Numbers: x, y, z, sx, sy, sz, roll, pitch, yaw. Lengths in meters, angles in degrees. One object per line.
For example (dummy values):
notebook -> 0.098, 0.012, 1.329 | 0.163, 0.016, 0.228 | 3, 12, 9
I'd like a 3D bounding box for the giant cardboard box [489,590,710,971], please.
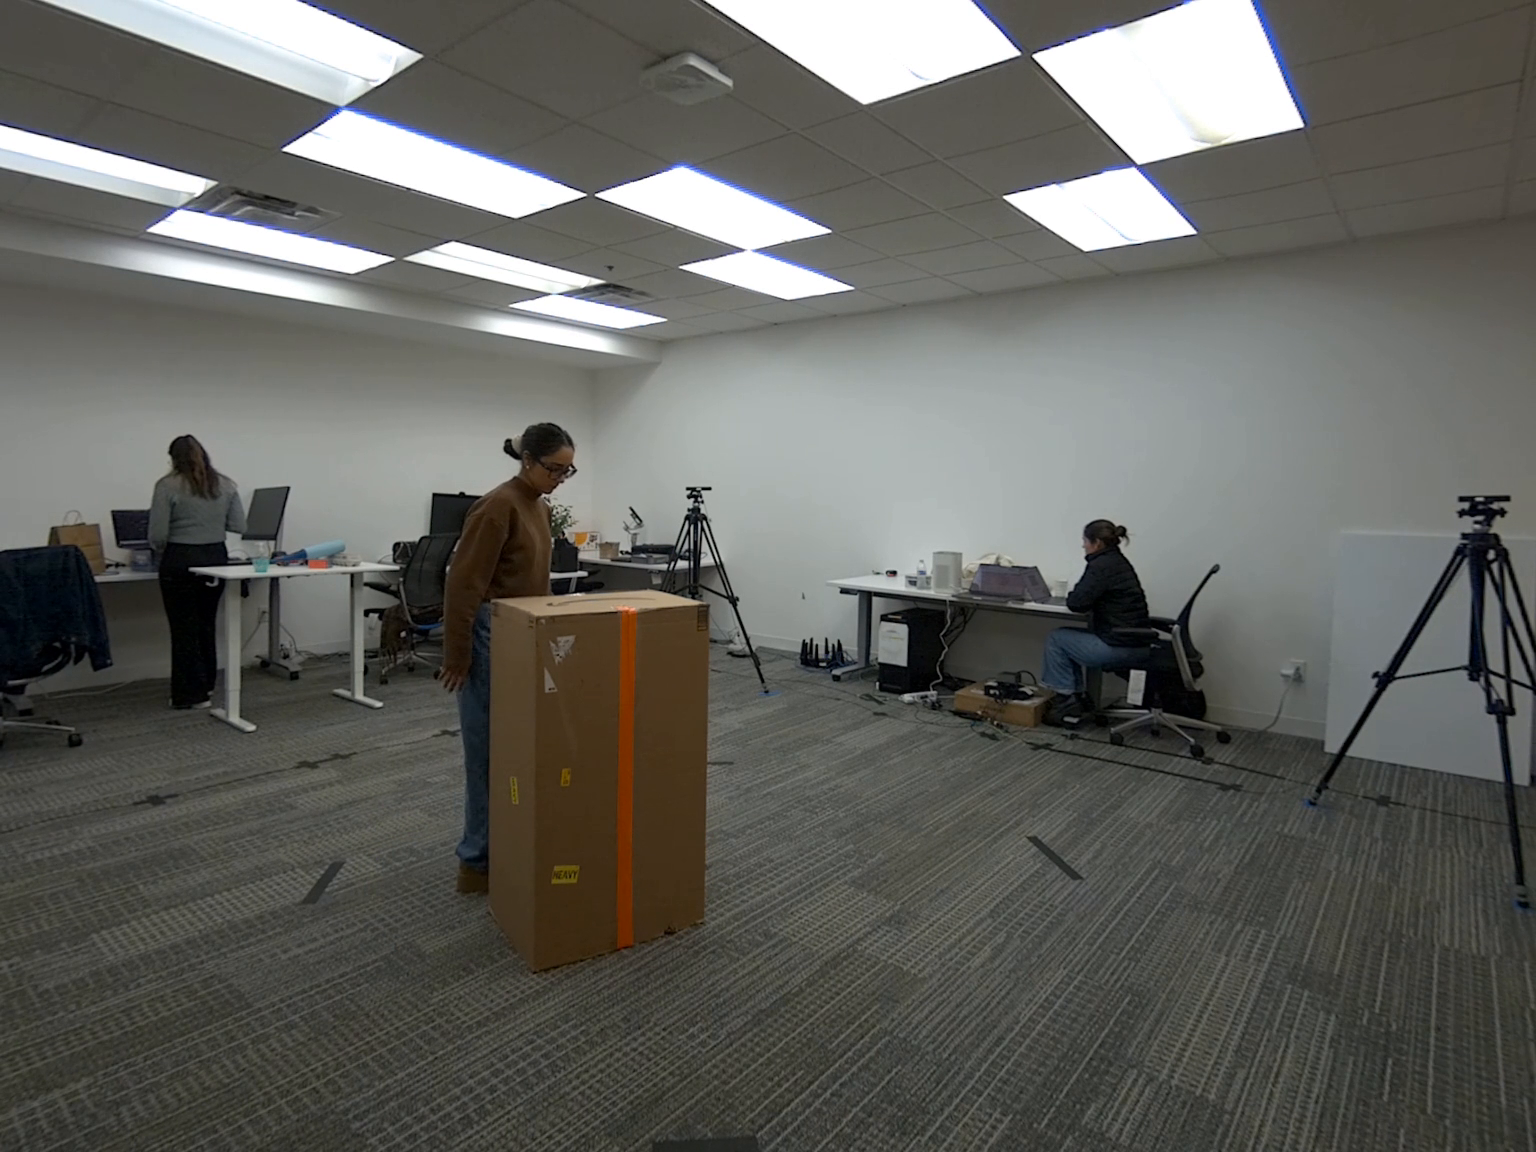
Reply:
giant cardboard box -> -0.549, 0.590, 2.711 | 0.561, 1.023, 0.440 | -1, 3, -35
